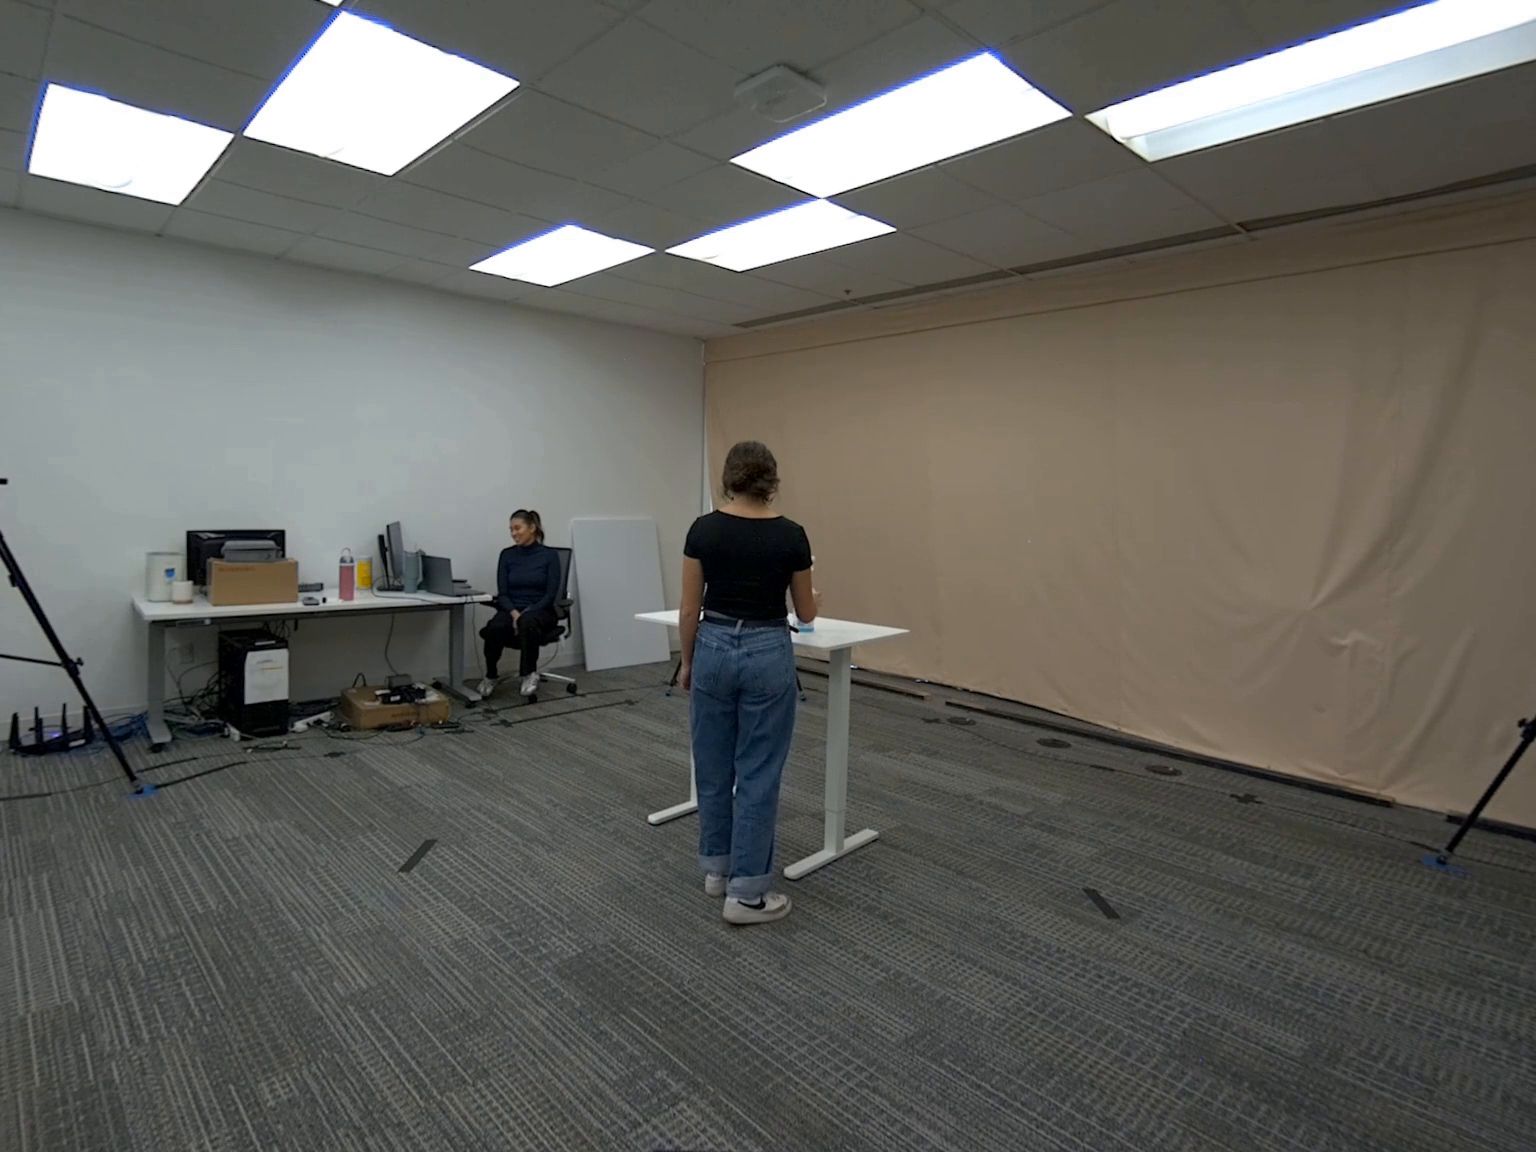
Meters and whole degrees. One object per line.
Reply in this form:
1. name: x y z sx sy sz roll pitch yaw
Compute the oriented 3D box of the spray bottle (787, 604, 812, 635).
1. spray bottle: 0.145 0.072 3.296 0.086 0.296 0.091 1 5 -7
